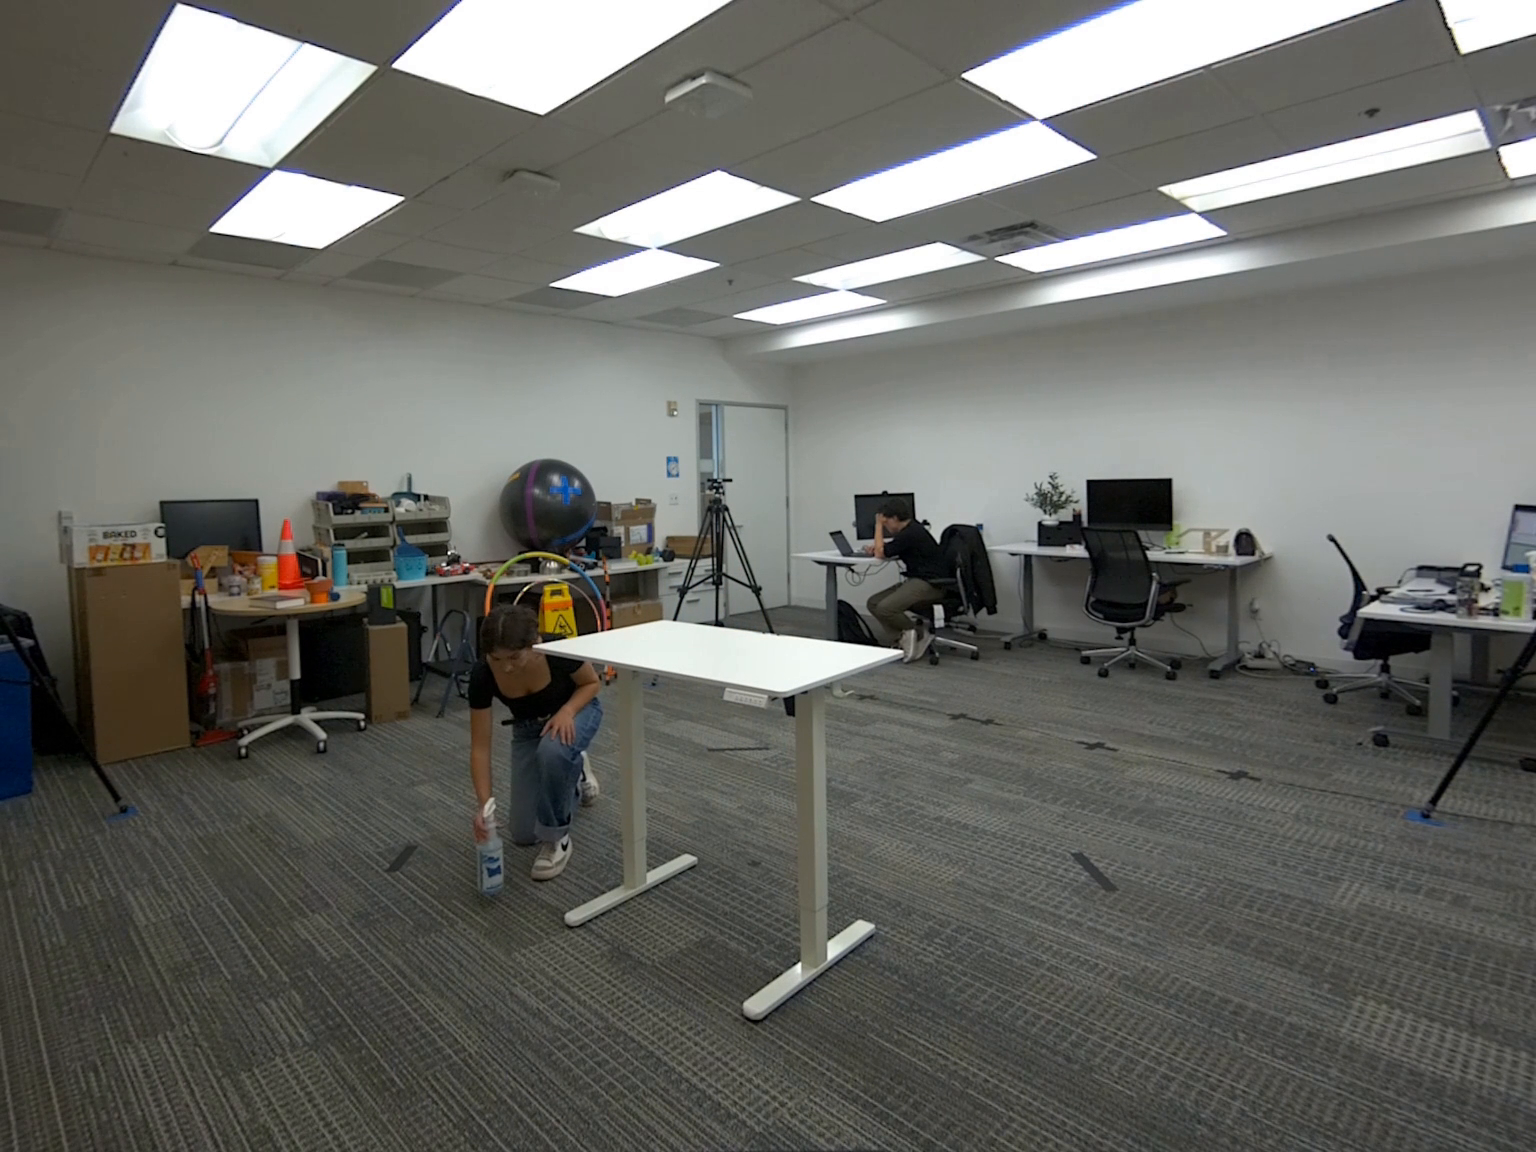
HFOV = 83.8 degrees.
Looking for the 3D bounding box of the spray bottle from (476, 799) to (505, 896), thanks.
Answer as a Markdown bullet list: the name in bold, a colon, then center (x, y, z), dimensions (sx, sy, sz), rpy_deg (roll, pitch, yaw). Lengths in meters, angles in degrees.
- **spray bottle**: center (-0.936, 0.908, 2.852), dimensions (0.089, 0.296, 0.088), rpy_deg (5, 5, 21)
